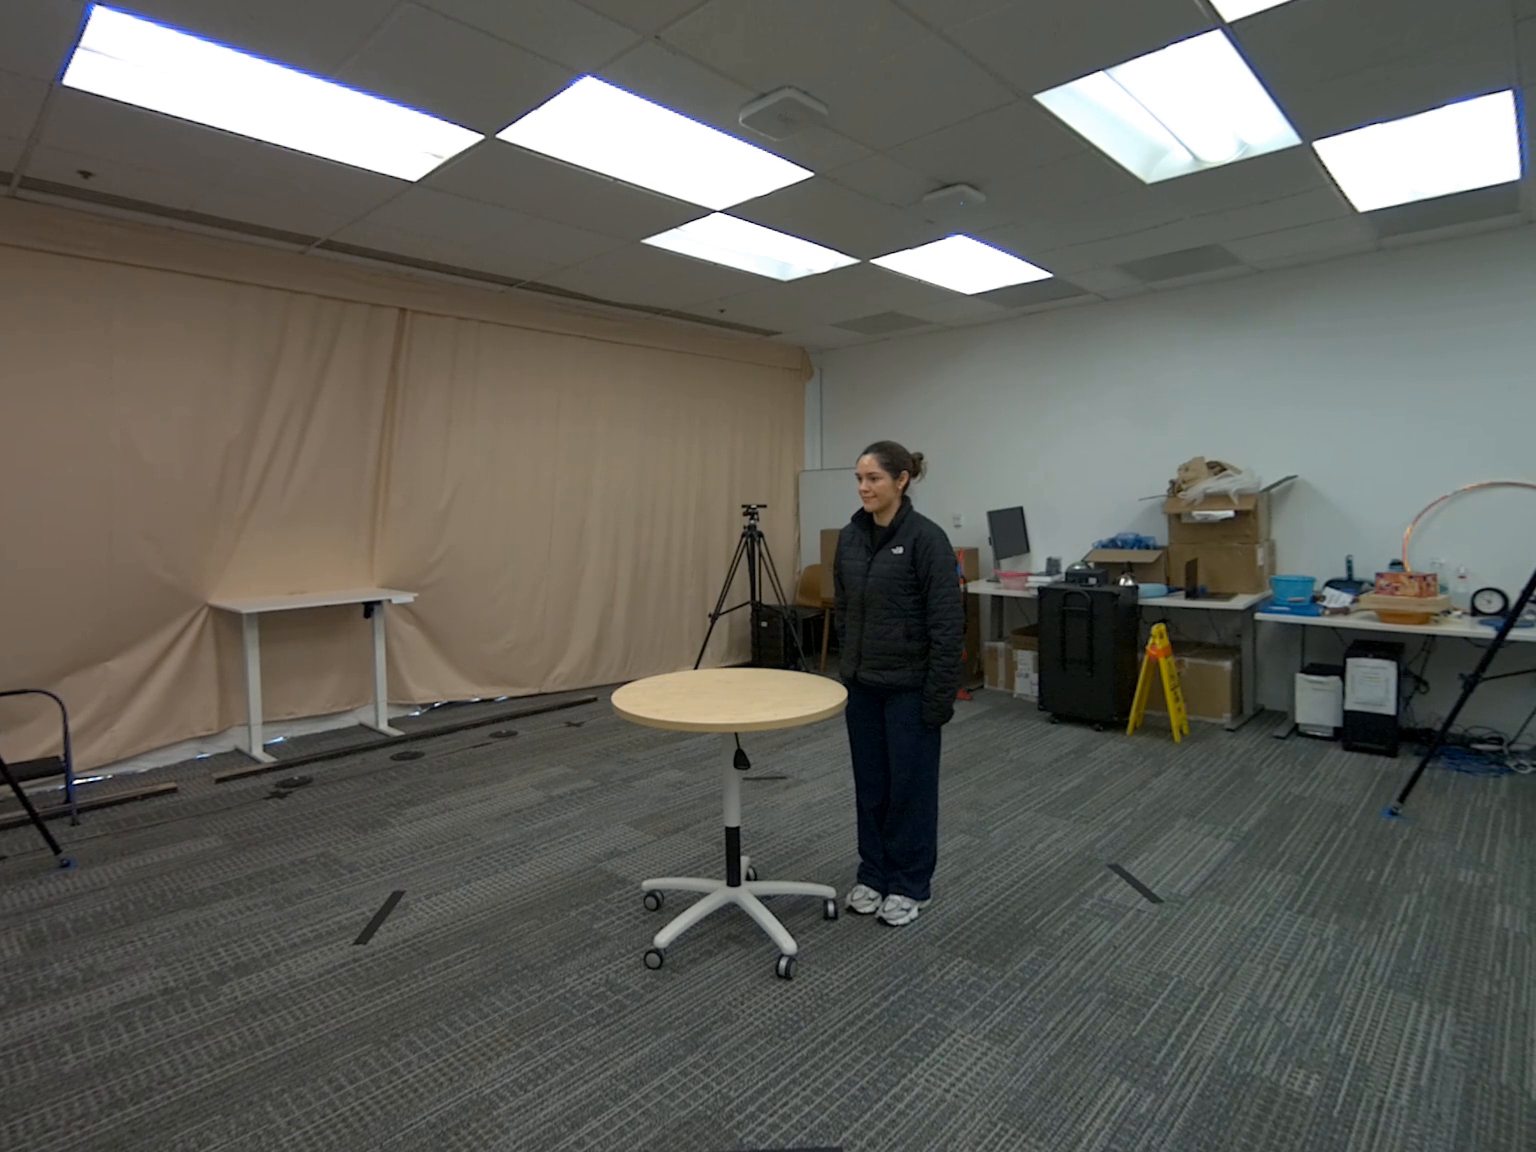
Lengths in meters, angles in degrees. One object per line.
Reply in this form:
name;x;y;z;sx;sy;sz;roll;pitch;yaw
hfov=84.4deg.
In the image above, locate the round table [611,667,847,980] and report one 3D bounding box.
round table;-0.110;0.769;2.783;0.784;0.784;0.788;-1;4;-2
